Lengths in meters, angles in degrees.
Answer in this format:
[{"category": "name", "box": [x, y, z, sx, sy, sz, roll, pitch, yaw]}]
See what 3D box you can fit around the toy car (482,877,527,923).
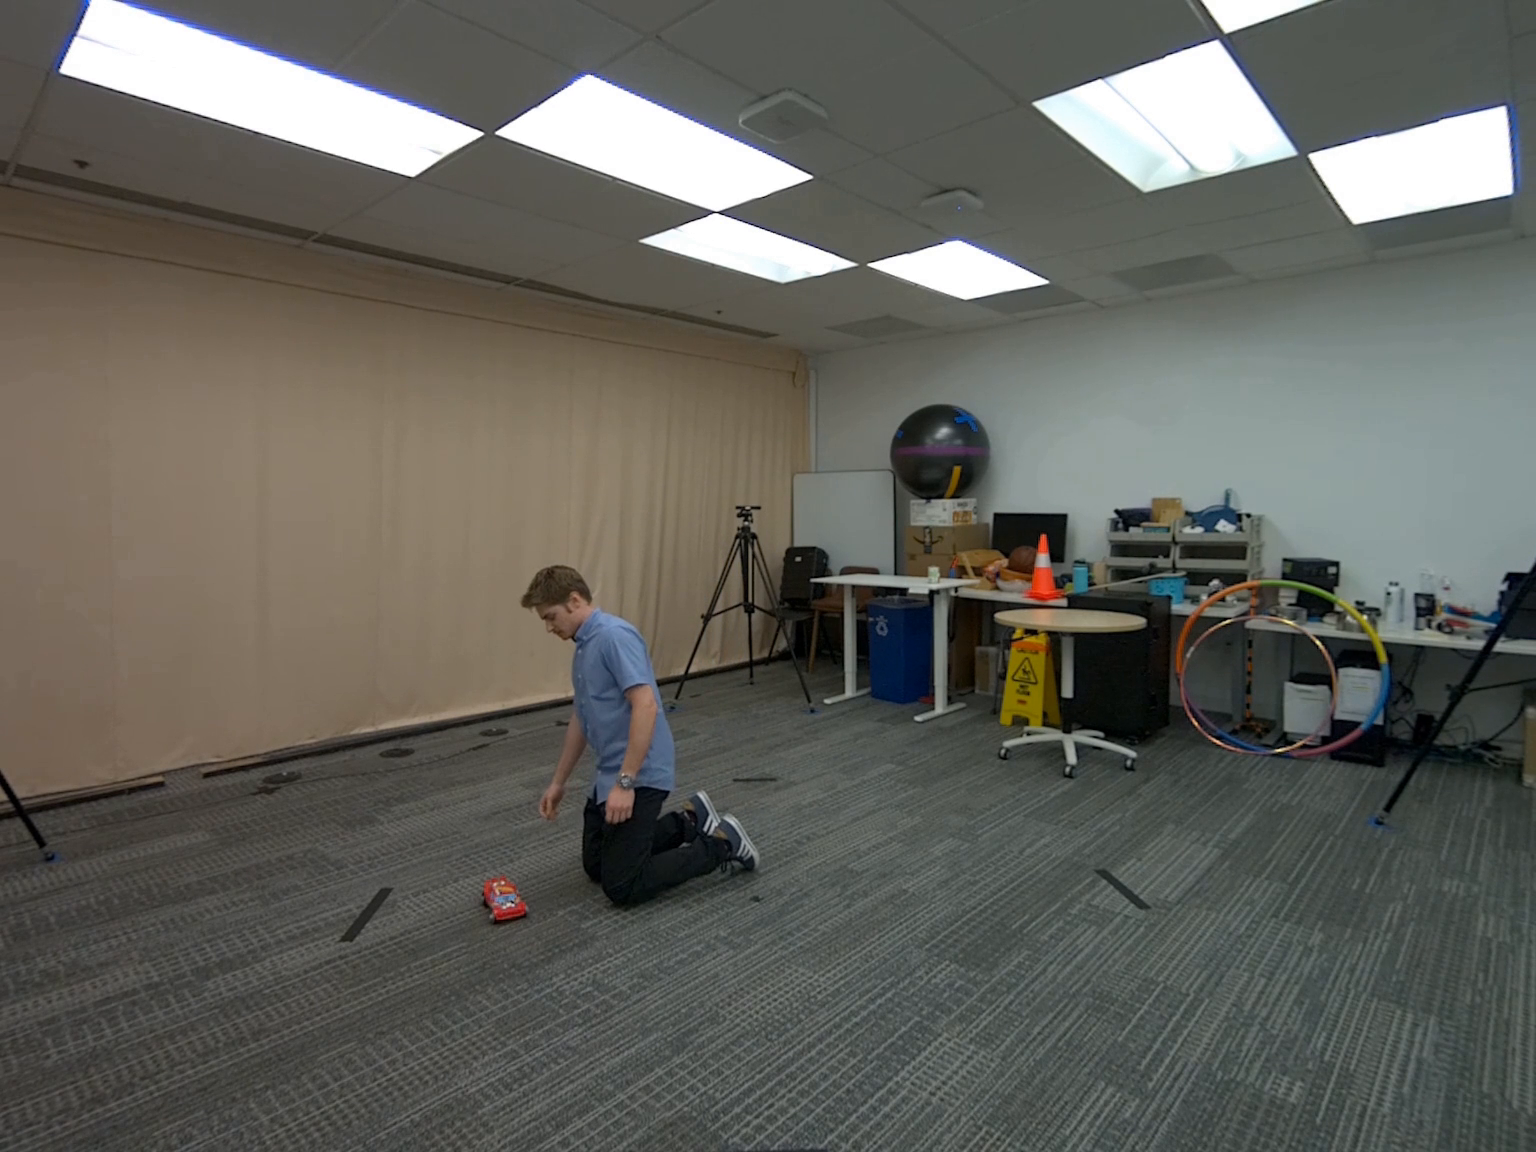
[{"category": "toy car", "box": [-0.921, 1.129, 2.927, 0.127, 0.082, 0.263, -4, 15, -28]}]
